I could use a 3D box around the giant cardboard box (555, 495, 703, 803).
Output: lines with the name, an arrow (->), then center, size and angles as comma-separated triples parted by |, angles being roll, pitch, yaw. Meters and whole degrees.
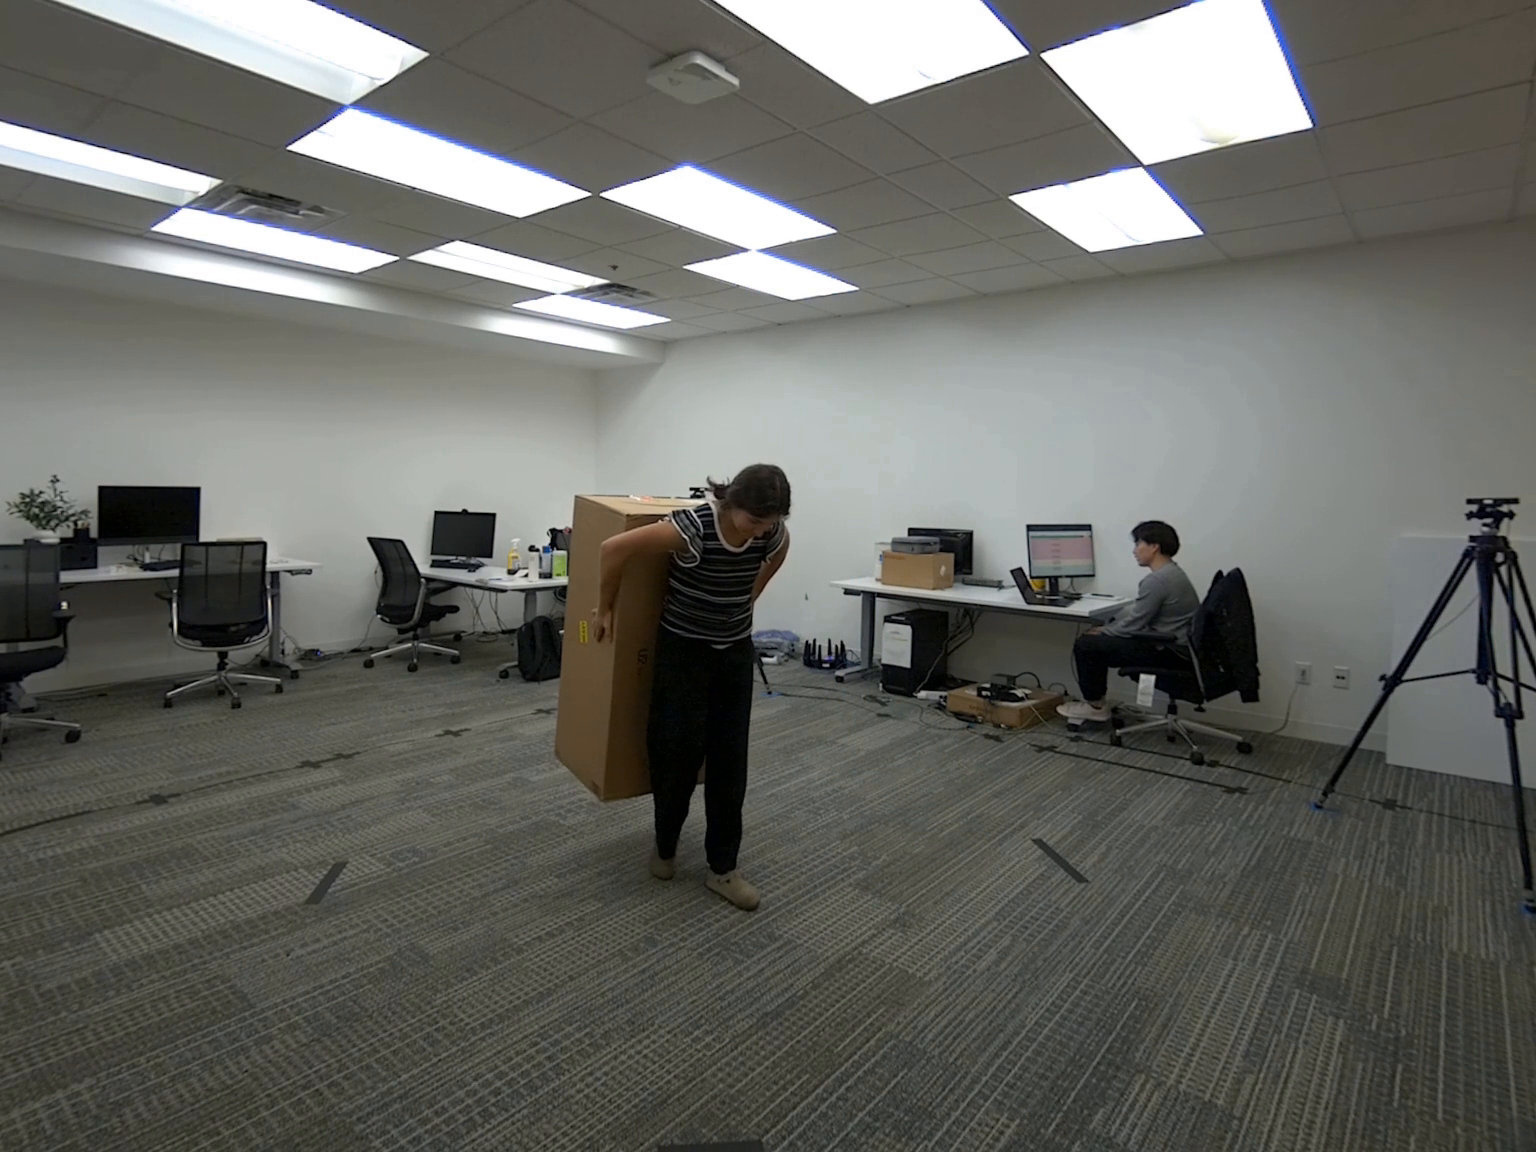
giant cardboard box -> -0.442, 0.239, 3.201 | 0.560, 1.018, 0.442 | -1, 12, -36
